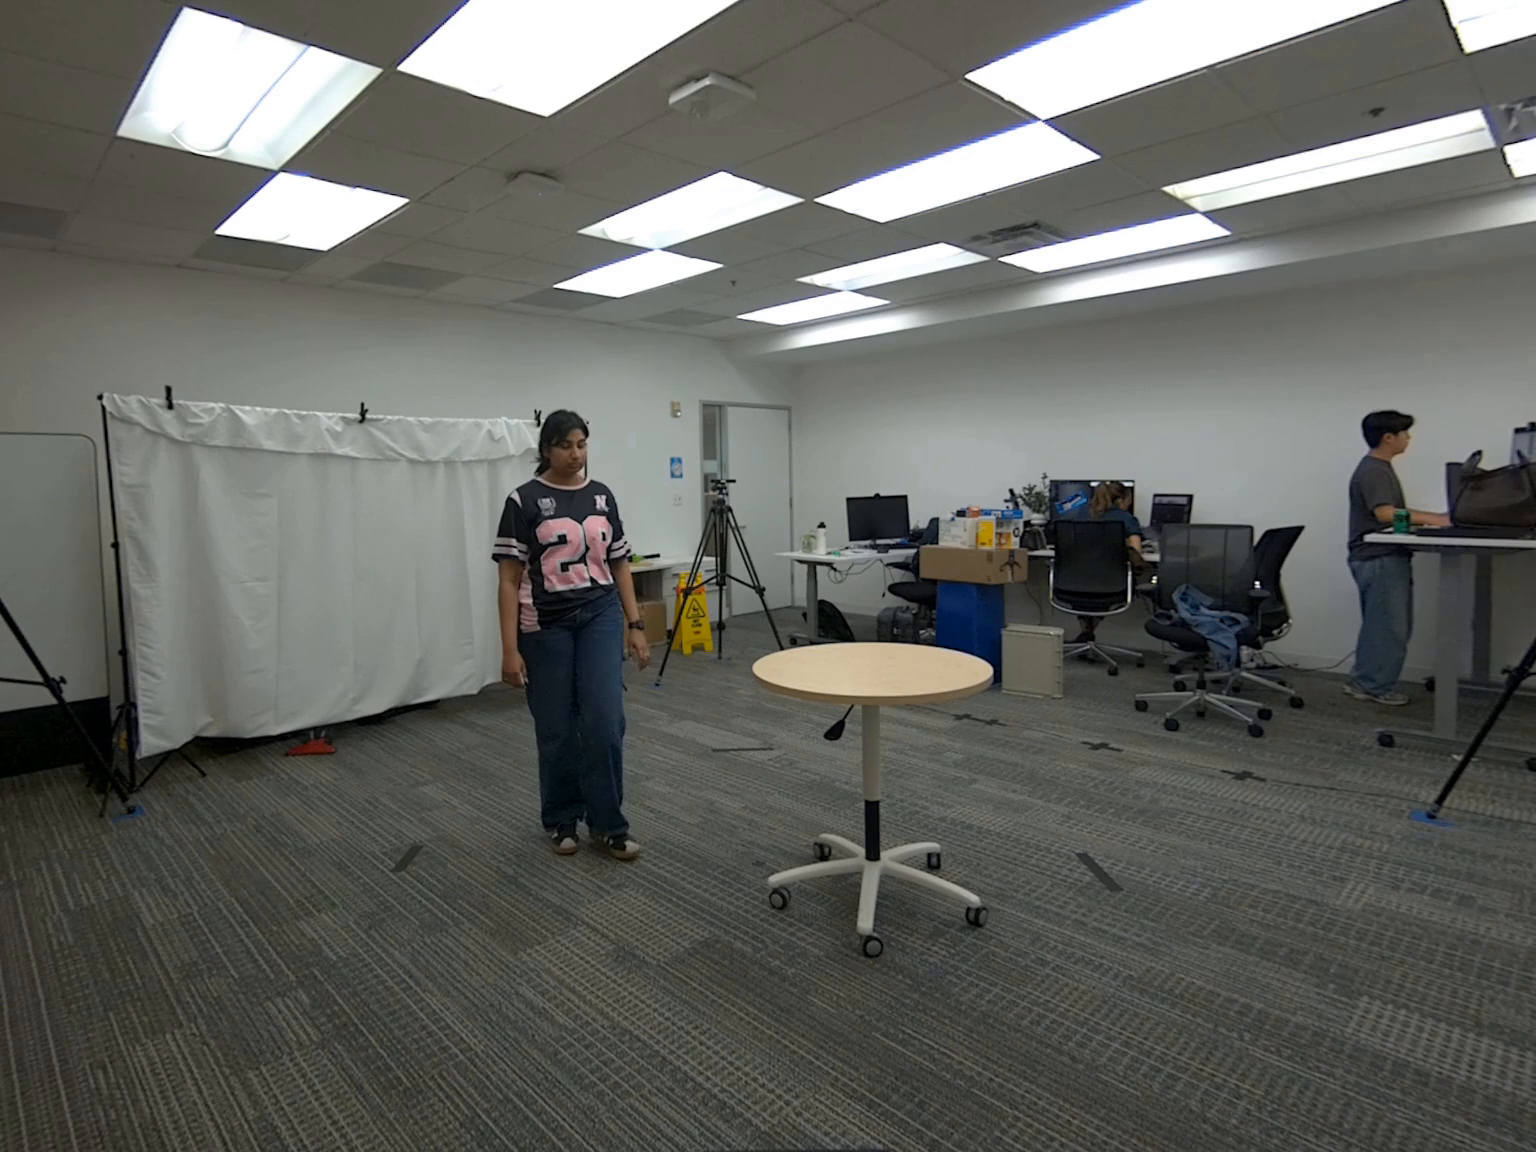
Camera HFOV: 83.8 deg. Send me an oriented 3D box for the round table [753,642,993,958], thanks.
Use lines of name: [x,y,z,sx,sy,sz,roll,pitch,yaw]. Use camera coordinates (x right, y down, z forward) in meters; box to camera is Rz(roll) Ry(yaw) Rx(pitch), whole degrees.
round table: [0.352,0.686,2.801,0.763,0.791,0.768,-1,5,-2]
